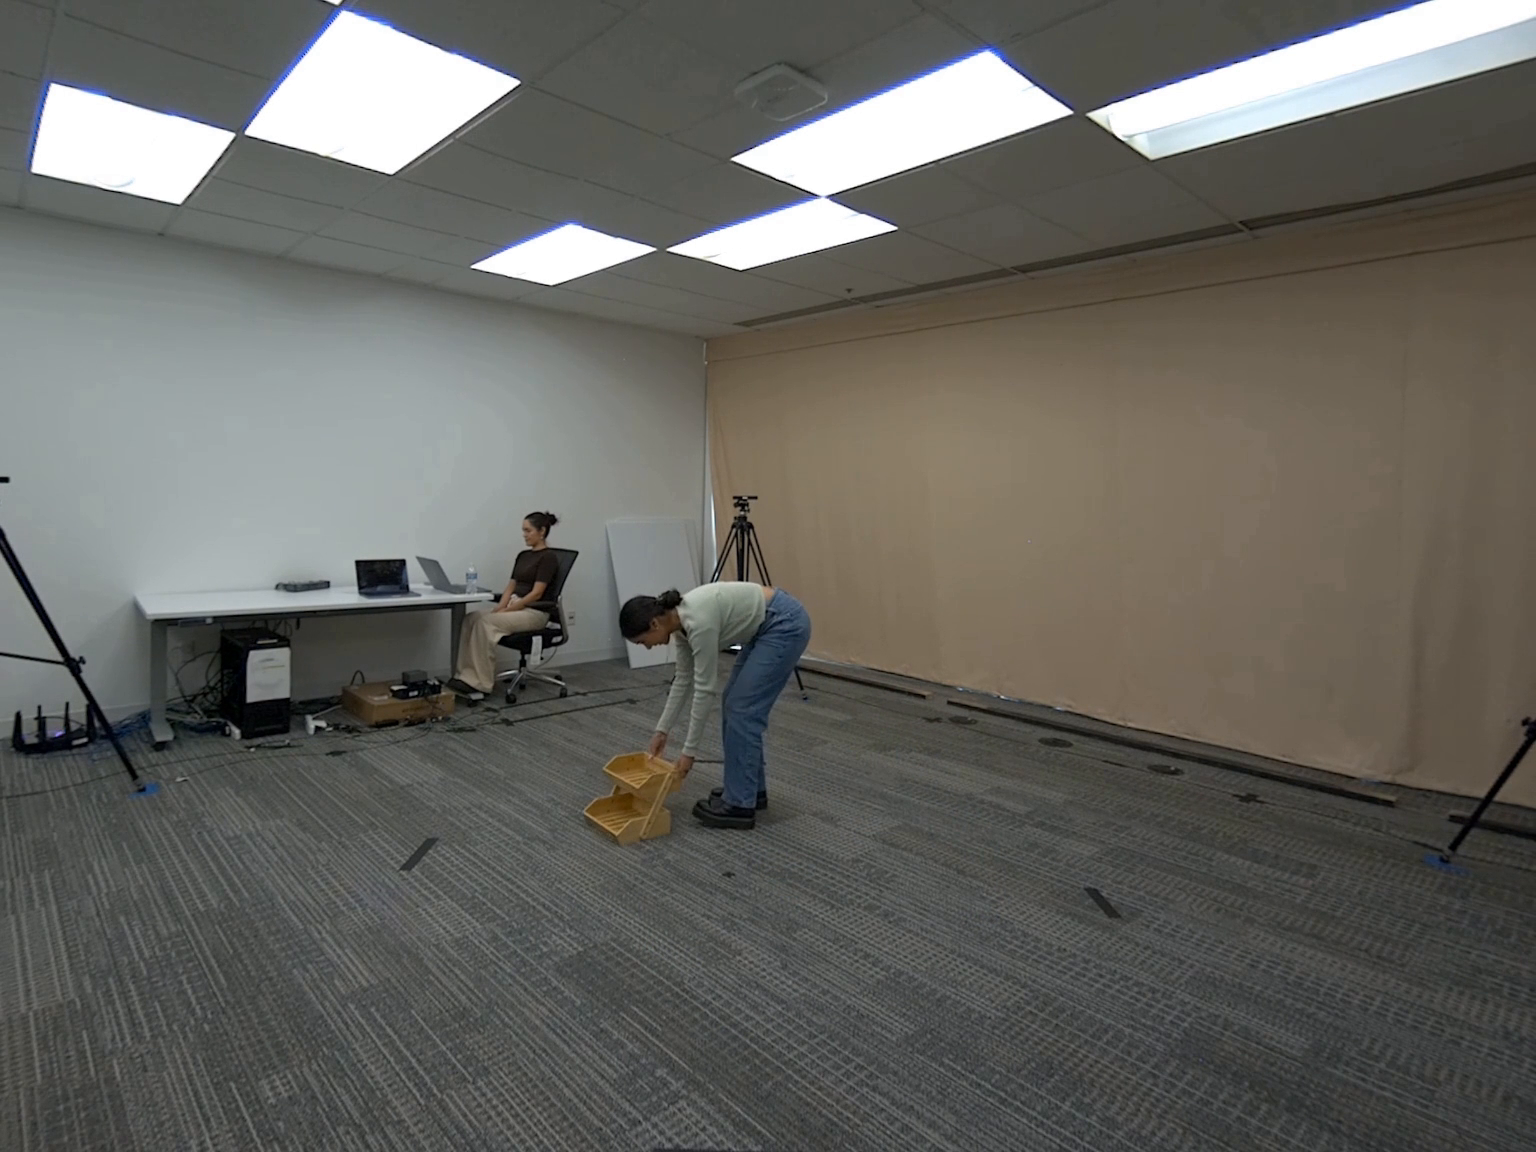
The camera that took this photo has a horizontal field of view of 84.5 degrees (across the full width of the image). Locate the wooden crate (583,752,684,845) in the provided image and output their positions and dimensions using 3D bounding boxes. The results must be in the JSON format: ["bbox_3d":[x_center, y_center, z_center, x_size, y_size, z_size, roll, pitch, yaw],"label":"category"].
[{"bbox_3d":[-0.582,0.920,3.526,0.295,0.273,0.333,-1,5,-39],"label":"wooden crate"}]
